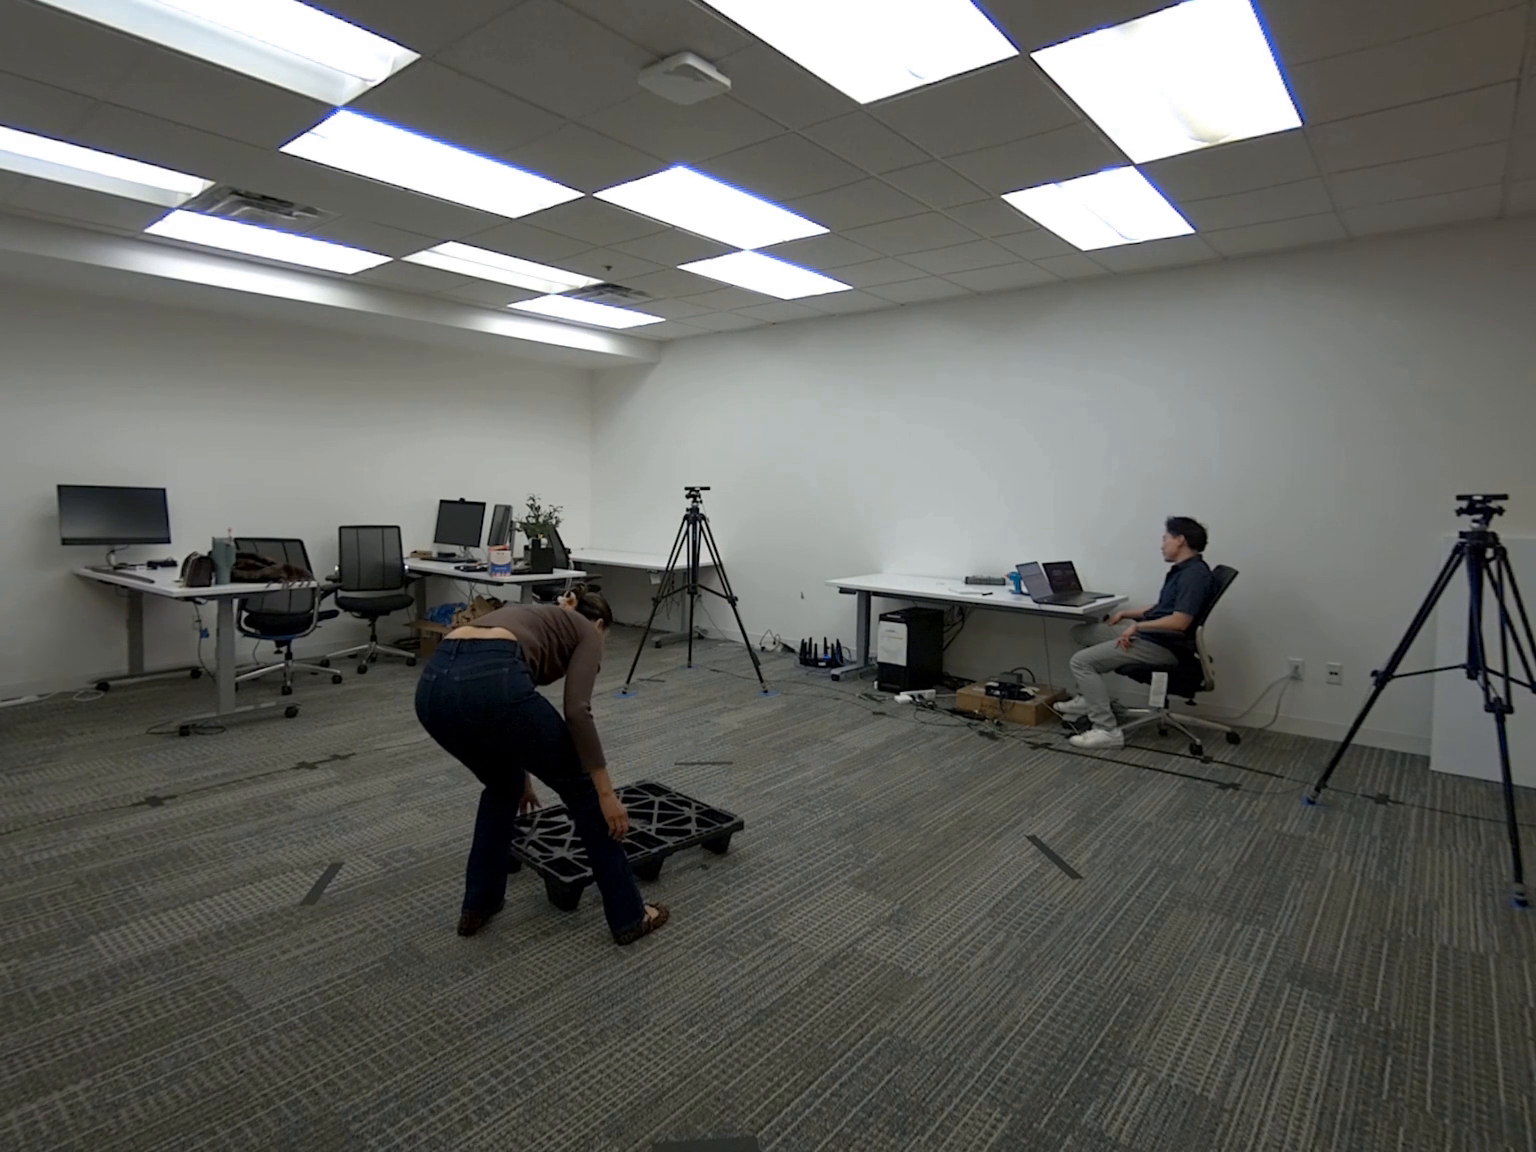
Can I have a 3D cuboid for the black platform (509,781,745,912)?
[{"bbox_3d":[-0.579,0.986,3.181,0.782,0.142,0.626,-5,9,-44],"label":"black platform"}]
